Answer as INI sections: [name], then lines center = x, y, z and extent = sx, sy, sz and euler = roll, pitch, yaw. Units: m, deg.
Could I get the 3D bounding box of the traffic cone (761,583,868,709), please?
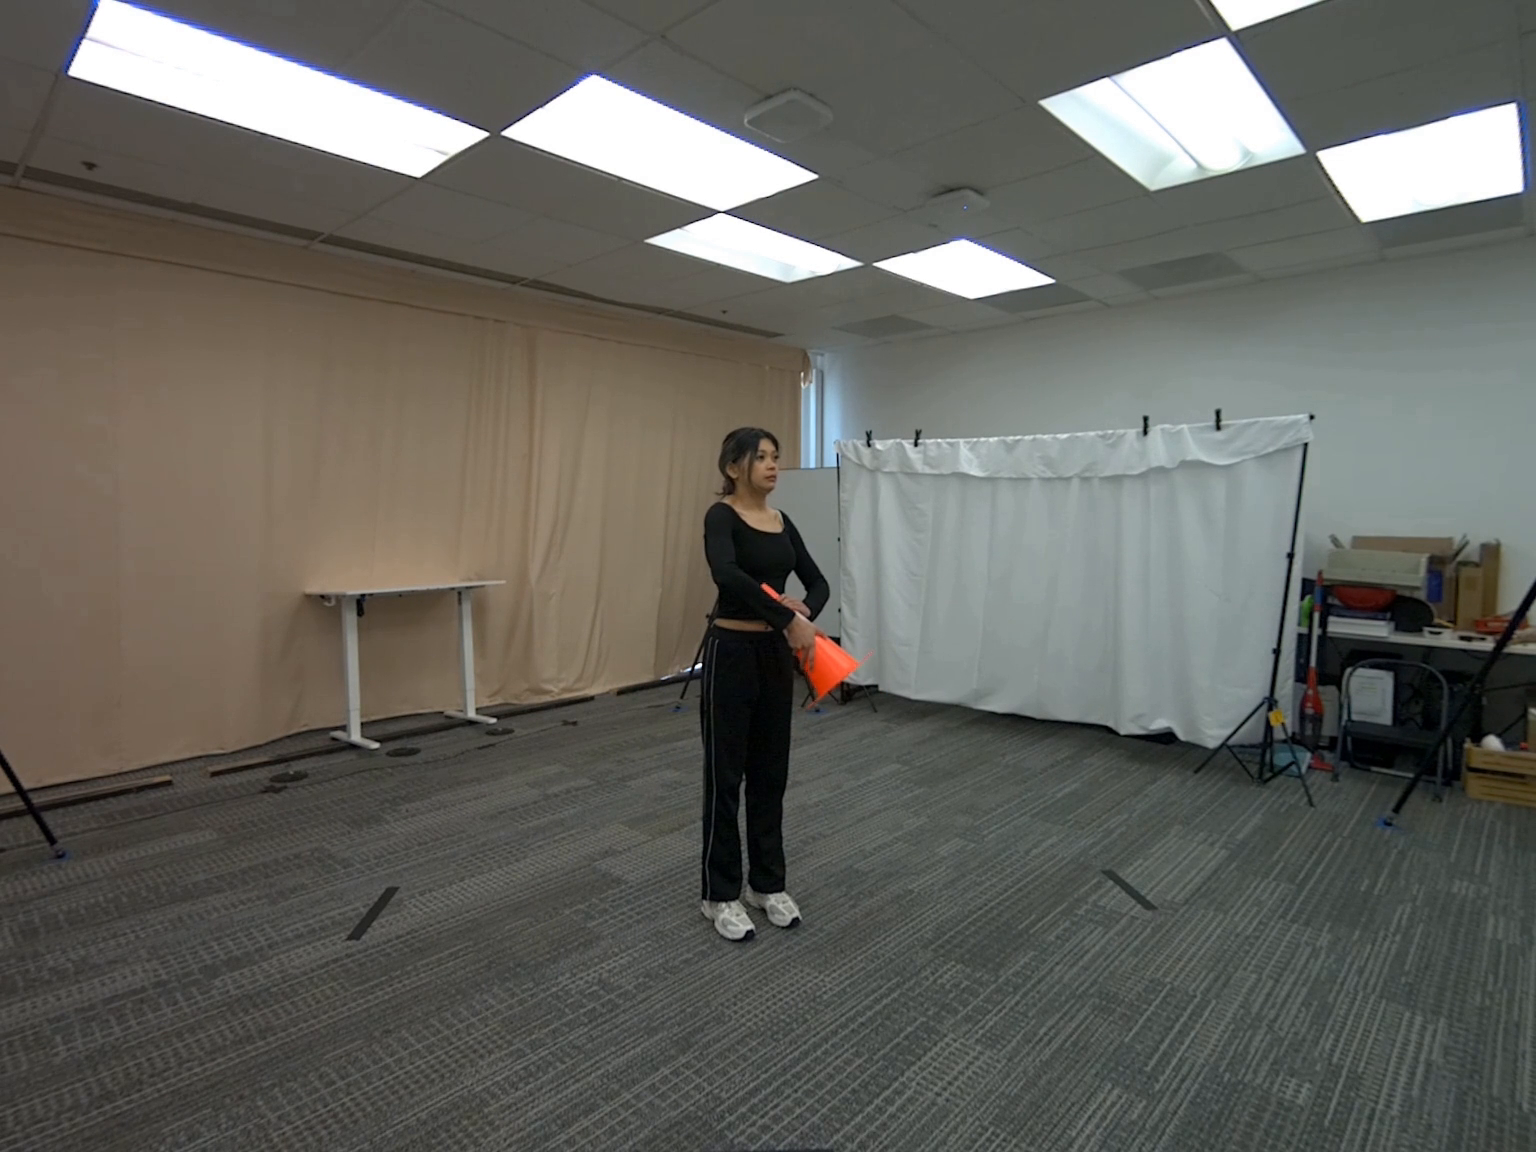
[traffic cone]
center = 0.100, 0.185, 2.599
extent = 0.202, 0.388, 0.204
euler = -34, -11, -38
